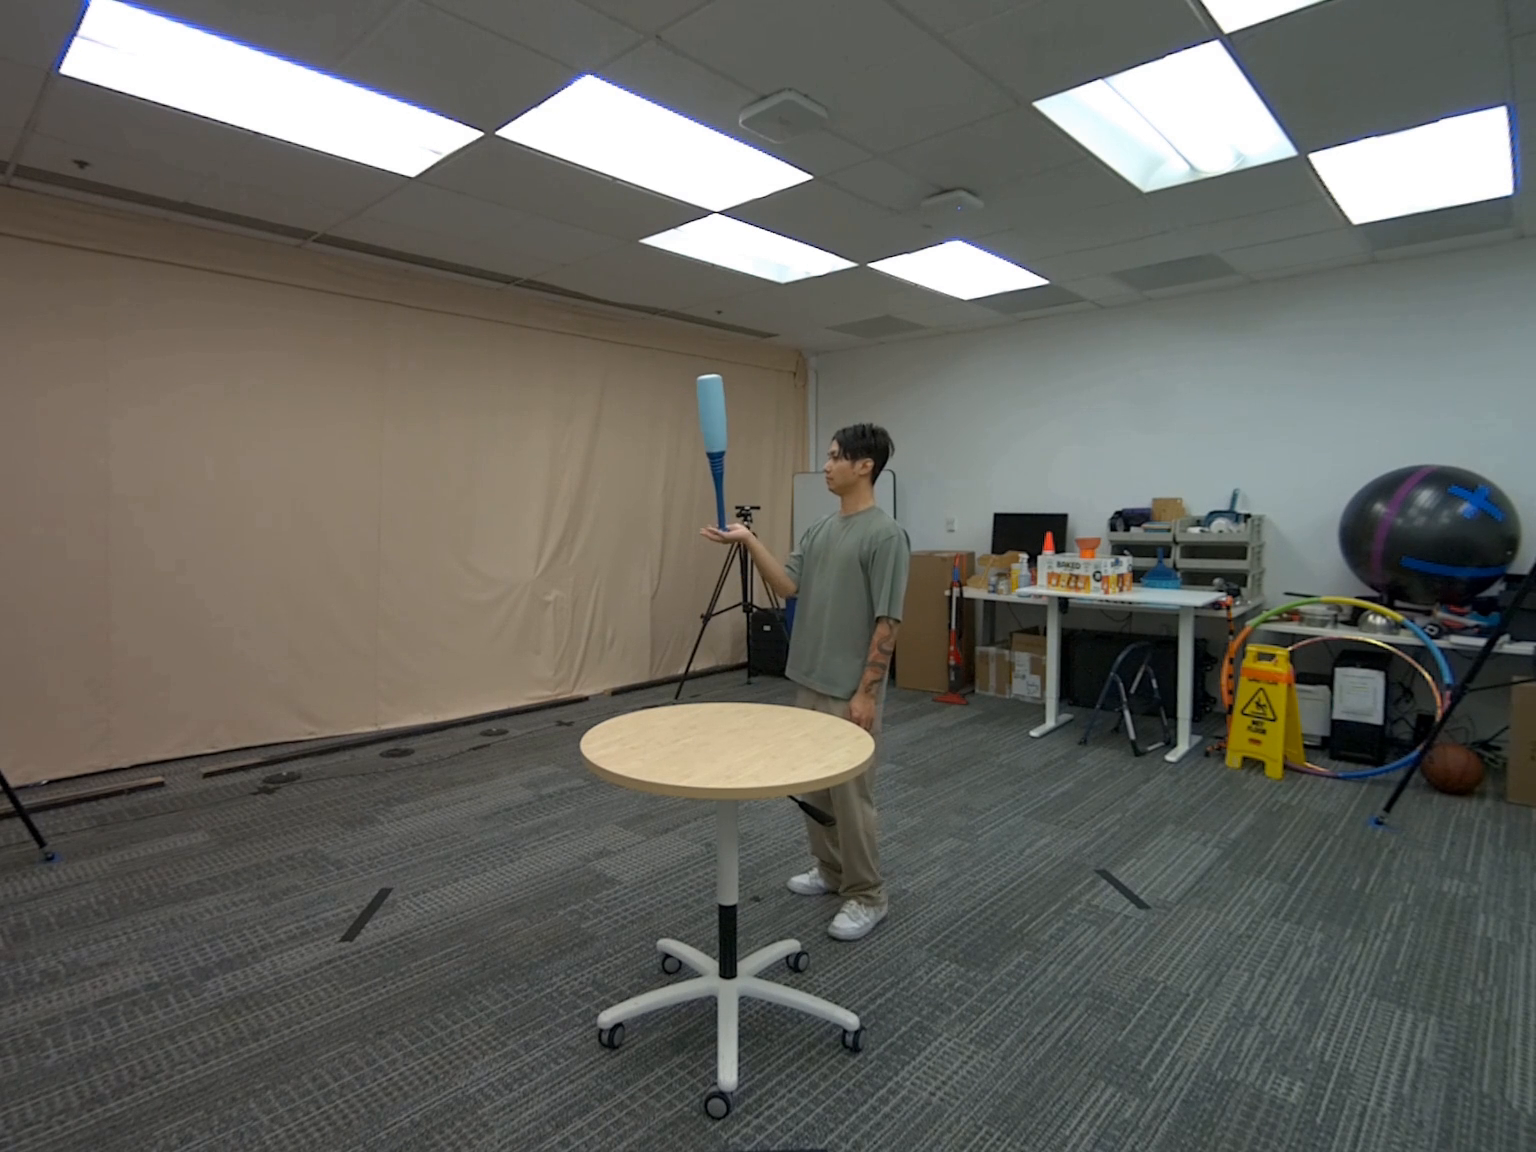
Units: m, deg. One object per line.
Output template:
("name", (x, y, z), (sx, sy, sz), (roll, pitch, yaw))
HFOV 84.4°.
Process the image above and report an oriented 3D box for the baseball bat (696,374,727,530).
("baseball bat", (-0.178, -0.404, 2.827), (0.089, 0.538, 0.090), (-3, 13, -1))
